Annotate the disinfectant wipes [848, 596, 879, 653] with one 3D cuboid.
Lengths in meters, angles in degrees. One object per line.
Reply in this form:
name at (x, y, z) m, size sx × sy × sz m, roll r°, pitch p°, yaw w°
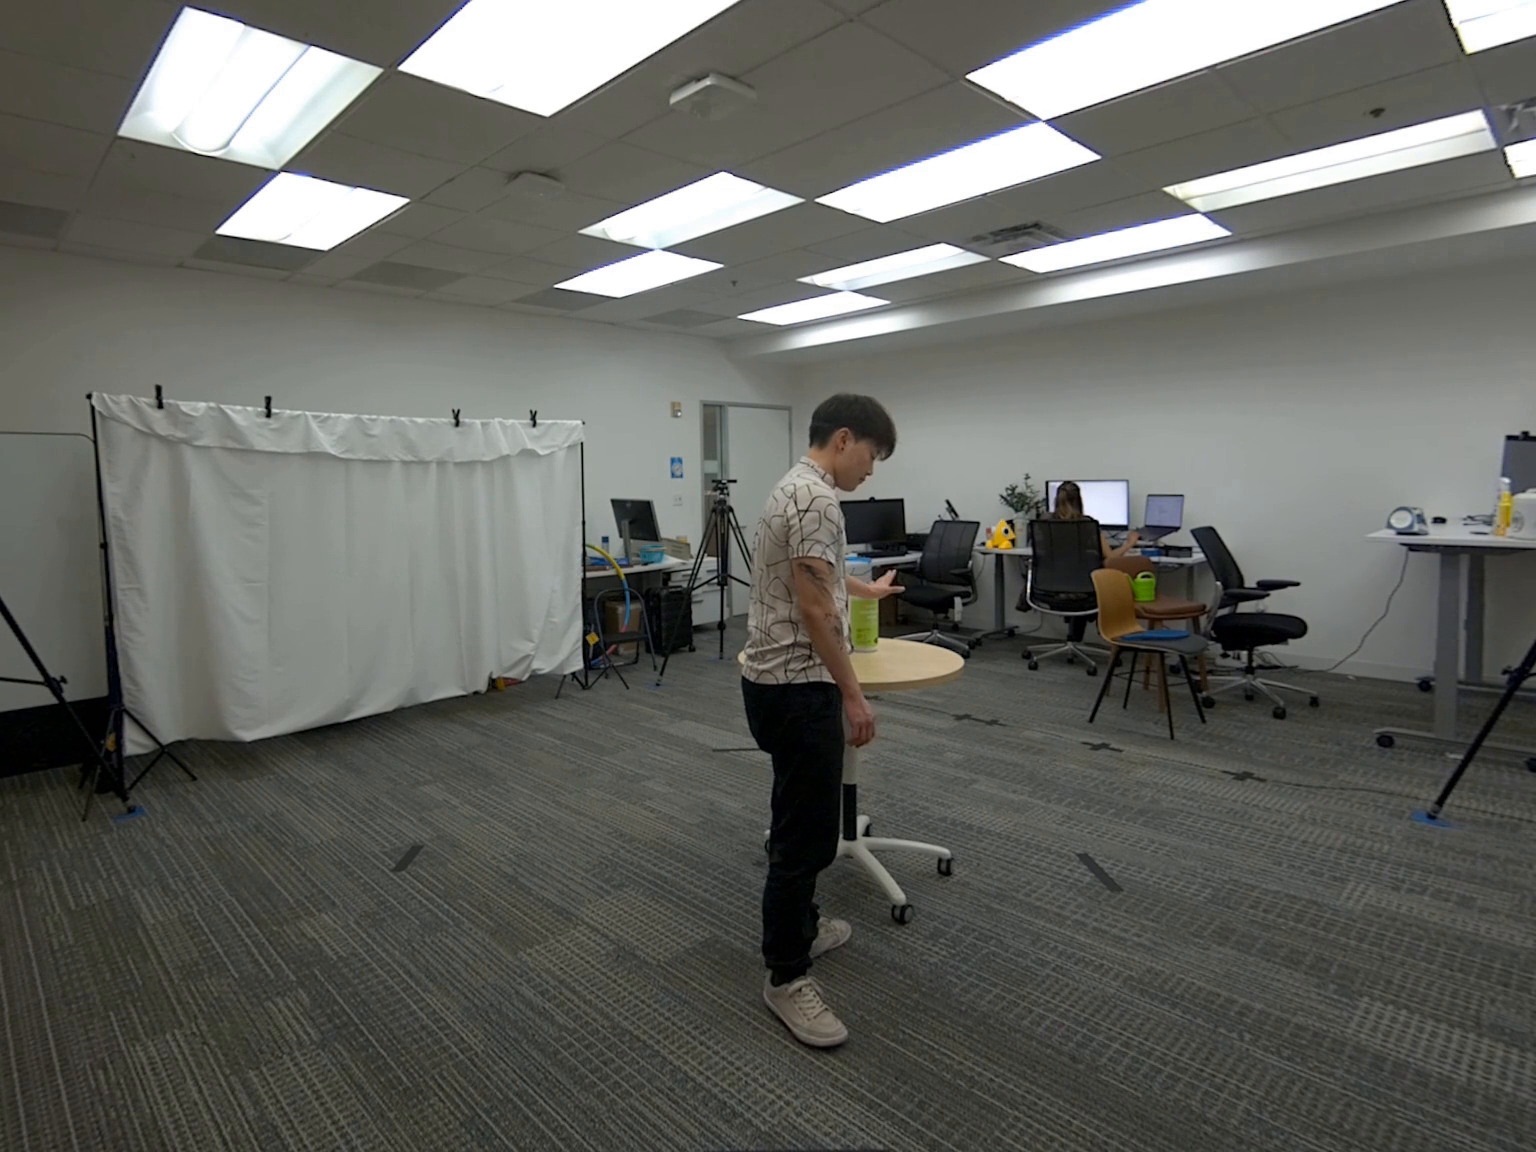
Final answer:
disinfectant wipes at (0.344, 0.160, 3.060) m, size 0.118 × 0.217 × 0.118 m, roll -1°, pitch 3°, yaw -2°
